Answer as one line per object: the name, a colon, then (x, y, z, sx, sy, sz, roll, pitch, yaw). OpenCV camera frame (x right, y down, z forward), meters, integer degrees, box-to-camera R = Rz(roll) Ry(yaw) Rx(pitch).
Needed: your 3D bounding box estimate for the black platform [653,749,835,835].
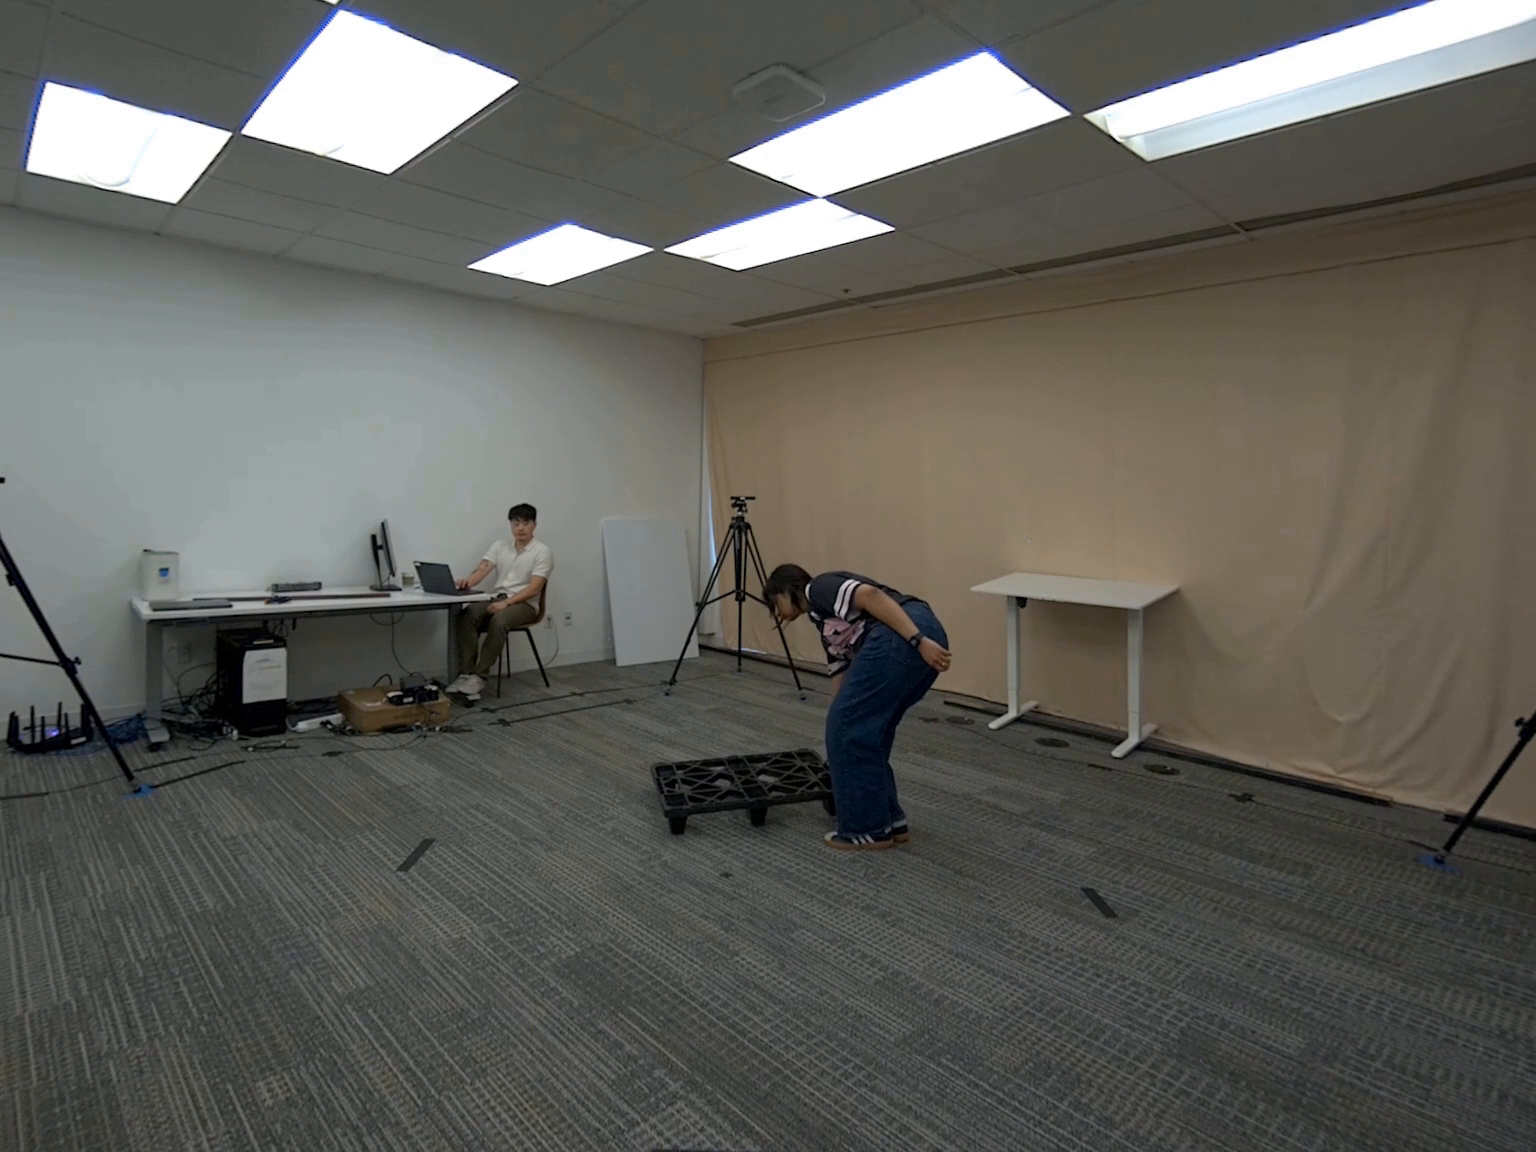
black platform: (-0.101, 0.954, 3.761, 0.798, 0.143, 0.613, -3, 6, -12)
